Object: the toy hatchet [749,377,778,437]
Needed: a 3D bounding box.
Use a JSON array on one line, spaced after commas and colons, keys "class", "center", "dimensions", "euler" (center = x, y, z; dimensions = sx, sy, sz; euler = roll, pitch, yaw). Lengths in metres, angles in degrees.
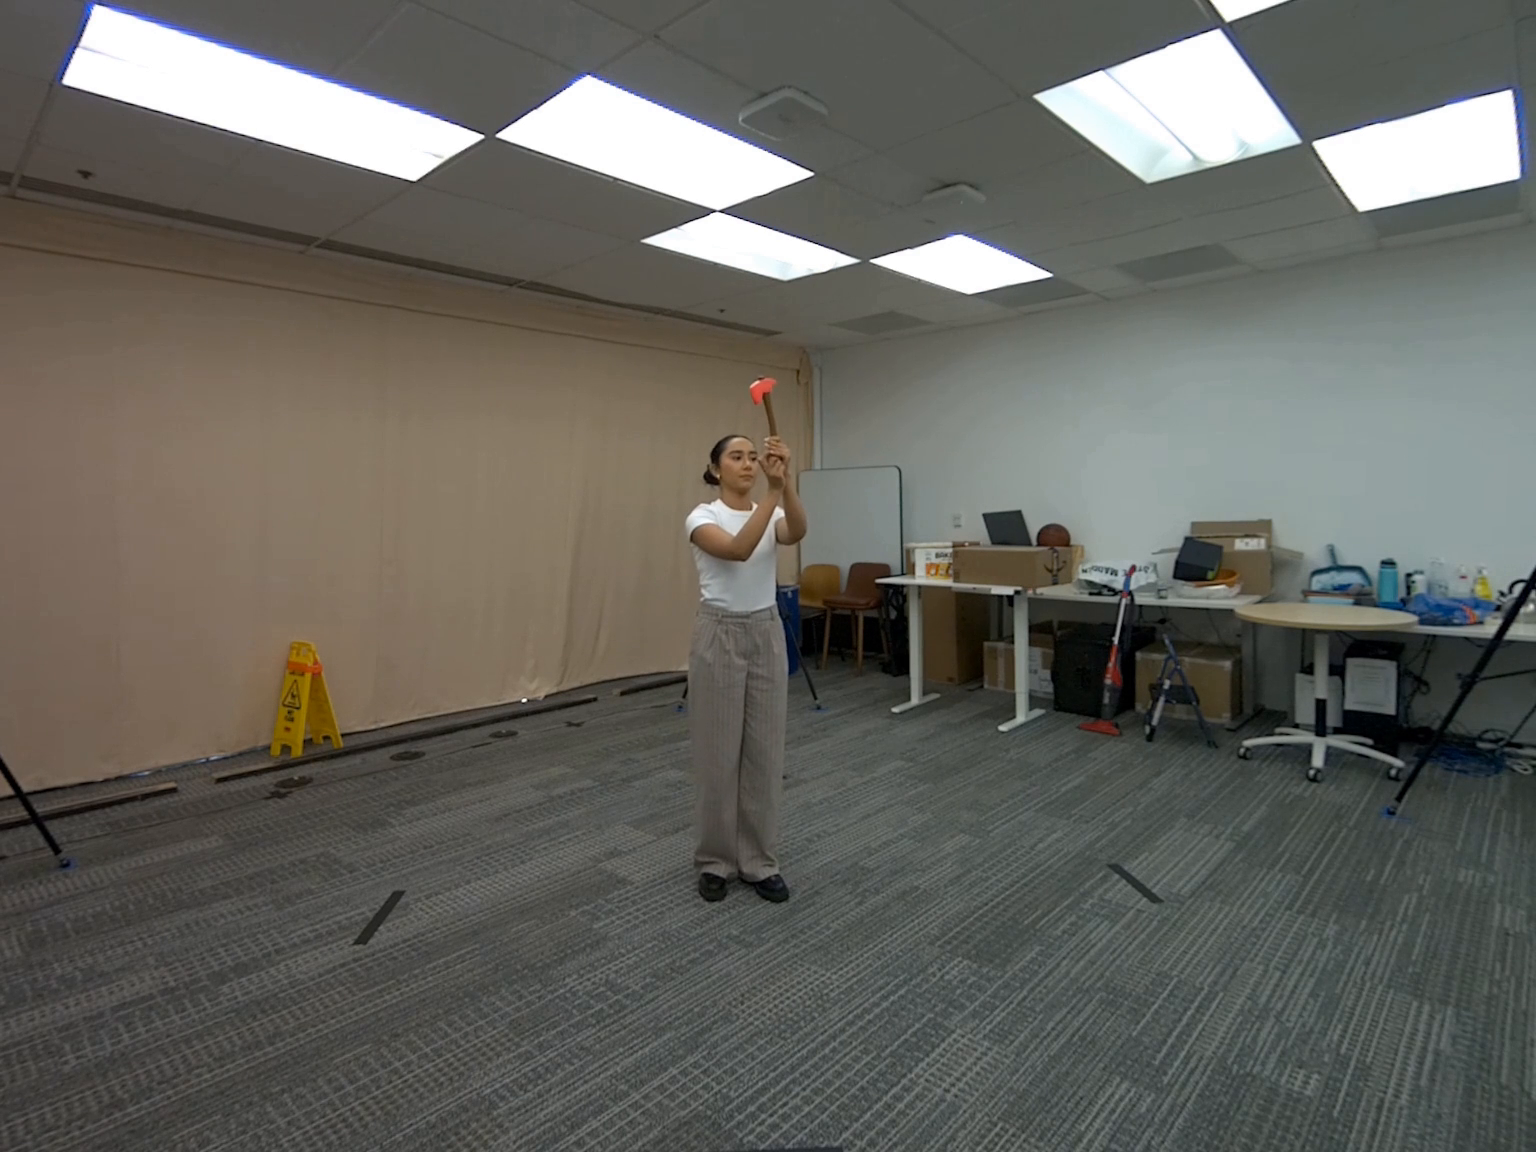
[{"class": "toy hatchet", "center": [-0.004, -0.500, 2.652], "dimensions": [0.030, 0.270, 0.127], "euler": [-2, -2, 36]}]
